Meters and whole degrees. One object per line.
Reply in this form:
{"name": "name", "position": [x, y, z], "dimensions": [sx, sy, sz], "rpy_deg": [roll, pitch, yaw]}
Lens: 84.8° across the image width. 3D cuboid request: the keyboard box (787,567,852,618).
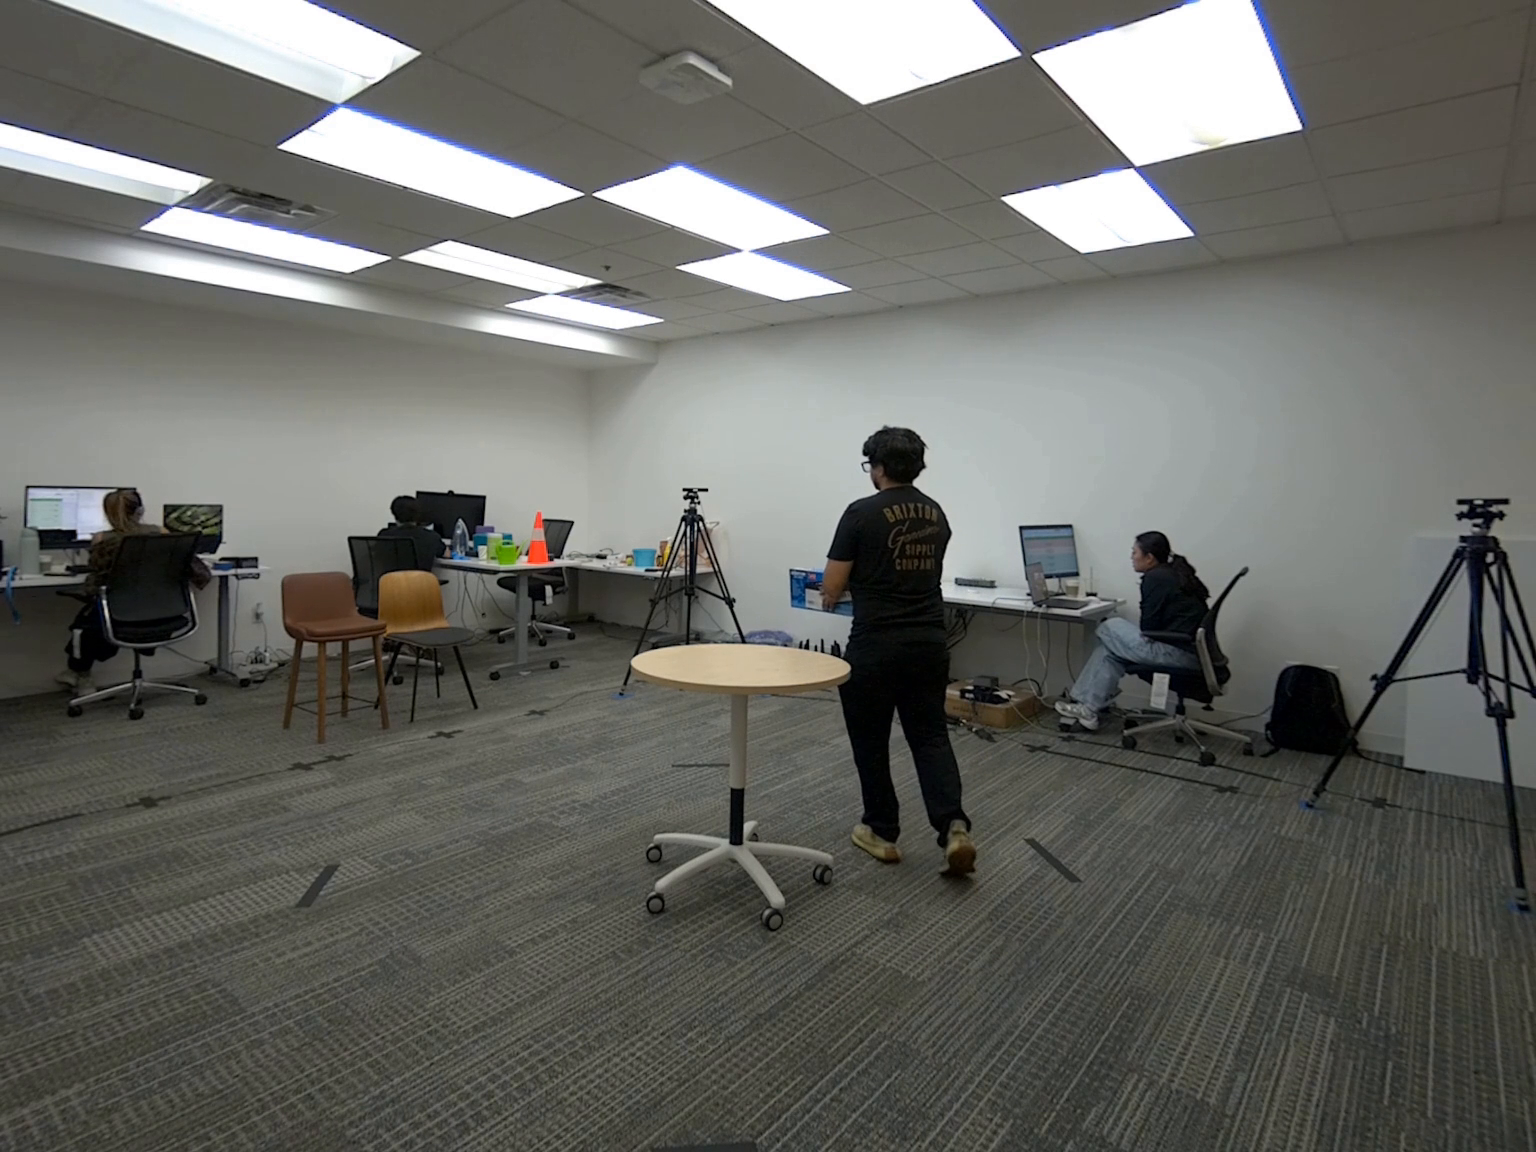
{"name": "keyboard box", "position": [0.258, 0.067, 3.594], "dimensions": [0.057, 0.175, 0.452], "rpy_deg": [-7, 9, -40]}
